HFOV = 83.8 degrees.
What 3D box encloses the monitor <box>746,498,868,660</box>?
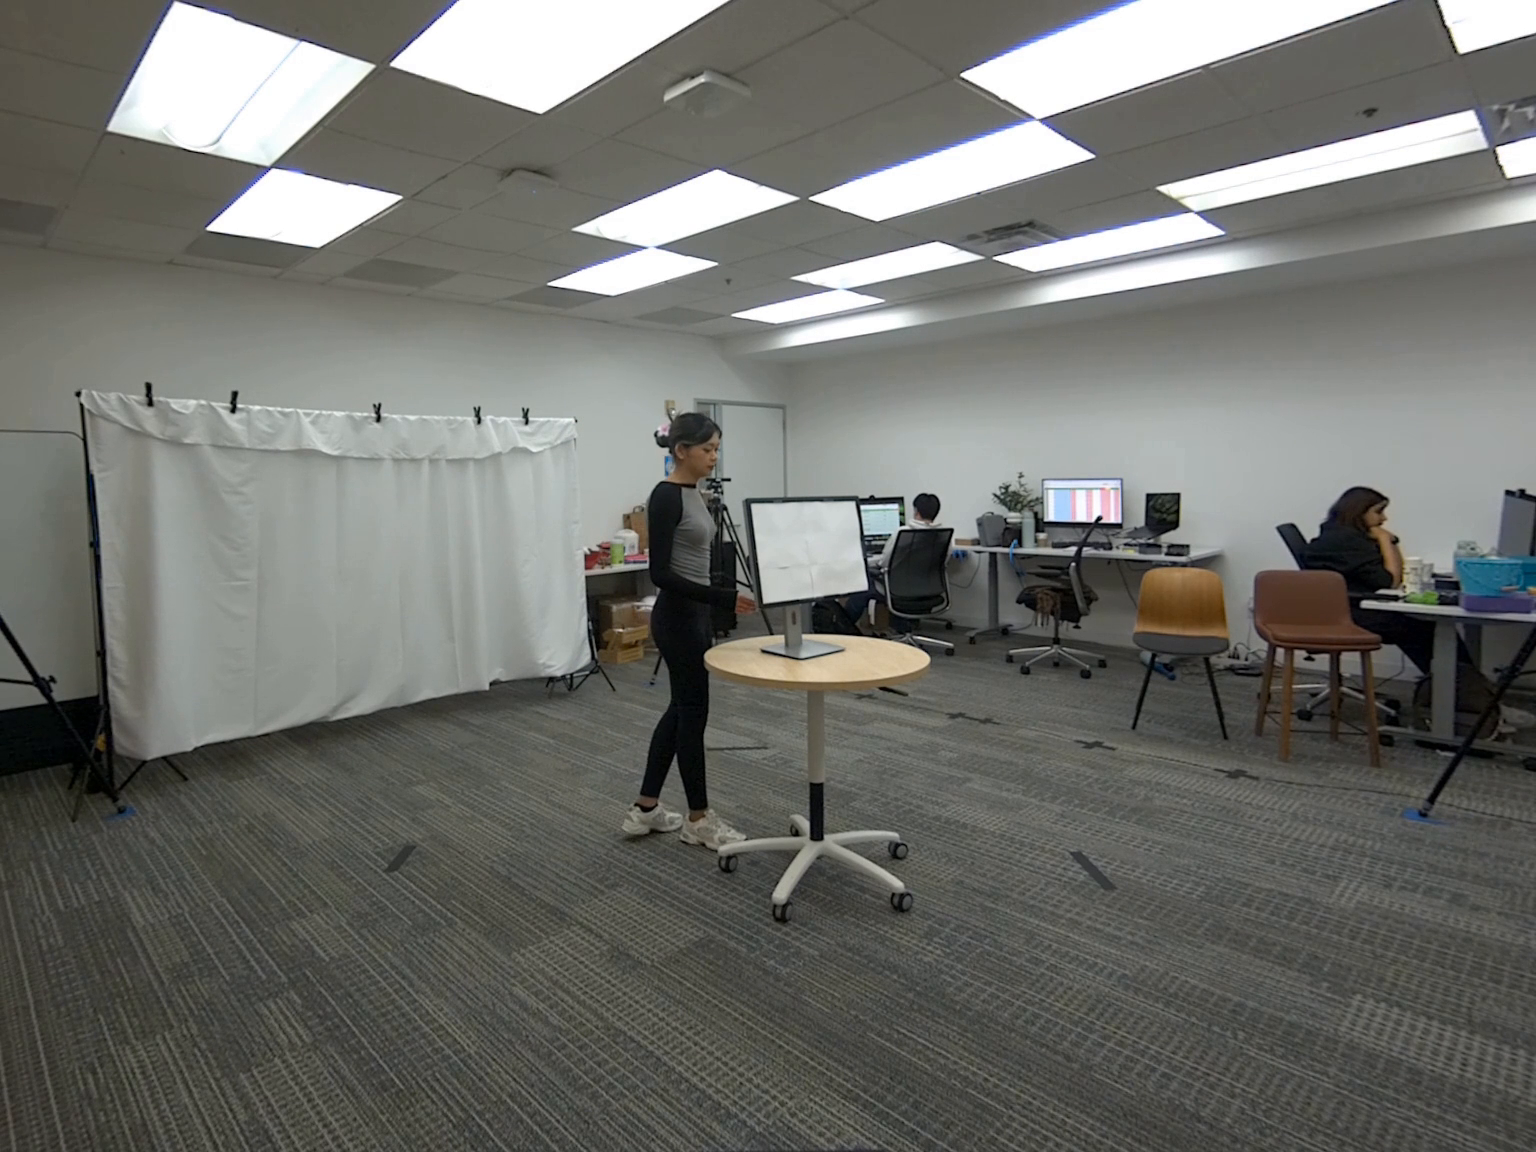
[{"bbox_3d":[0.123,0.000,2.983,0.525,0.520,0.193,-5,8,-45],"label":"monitor"}]
